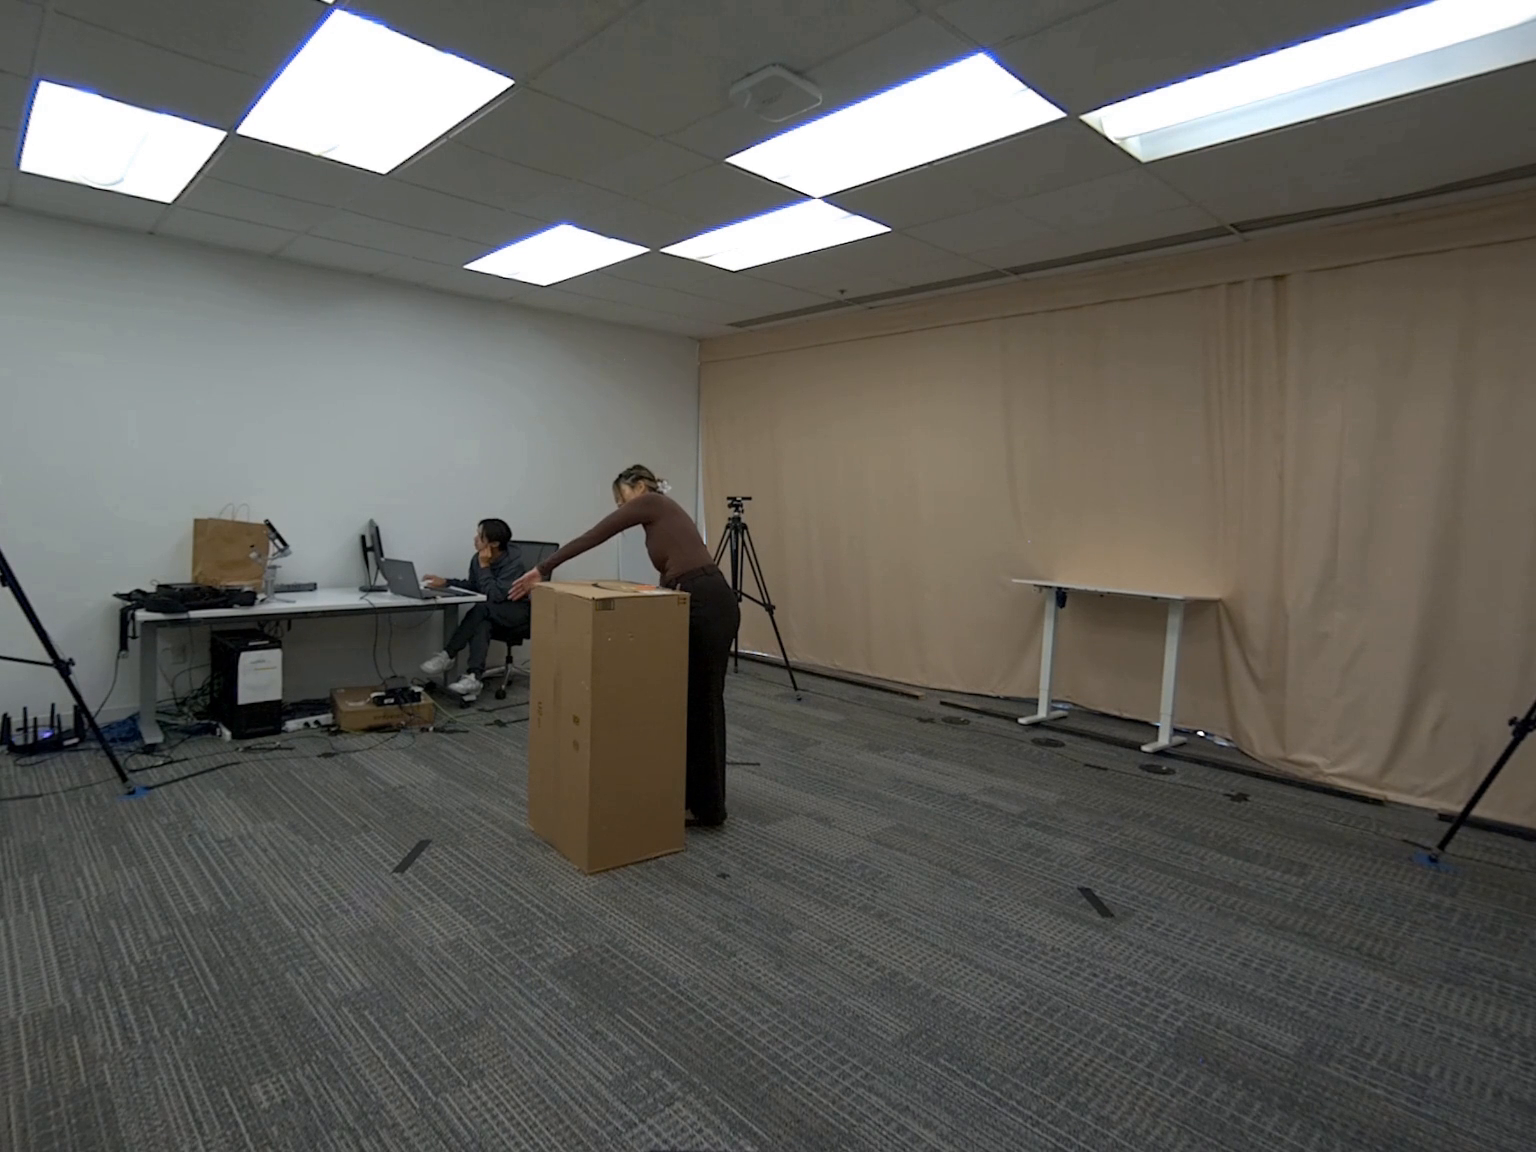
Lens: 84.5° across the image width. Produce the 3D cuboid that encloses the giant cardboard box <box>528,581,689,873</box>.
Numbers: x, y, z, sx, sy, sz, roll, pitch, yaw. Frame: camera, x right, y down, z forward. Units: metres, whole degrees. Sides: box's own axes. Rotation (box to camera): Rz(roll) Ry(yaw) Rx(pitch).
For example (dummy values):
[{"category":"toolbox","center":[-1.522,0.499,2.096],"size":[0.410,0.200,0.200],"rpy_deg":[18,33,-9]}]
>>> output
[{"category":"giant cardboard box","center":[-0.662,0.556,3.403],"size":[0.437,1.025,0.598],"rpy_deg":[0,3,-36]}]
